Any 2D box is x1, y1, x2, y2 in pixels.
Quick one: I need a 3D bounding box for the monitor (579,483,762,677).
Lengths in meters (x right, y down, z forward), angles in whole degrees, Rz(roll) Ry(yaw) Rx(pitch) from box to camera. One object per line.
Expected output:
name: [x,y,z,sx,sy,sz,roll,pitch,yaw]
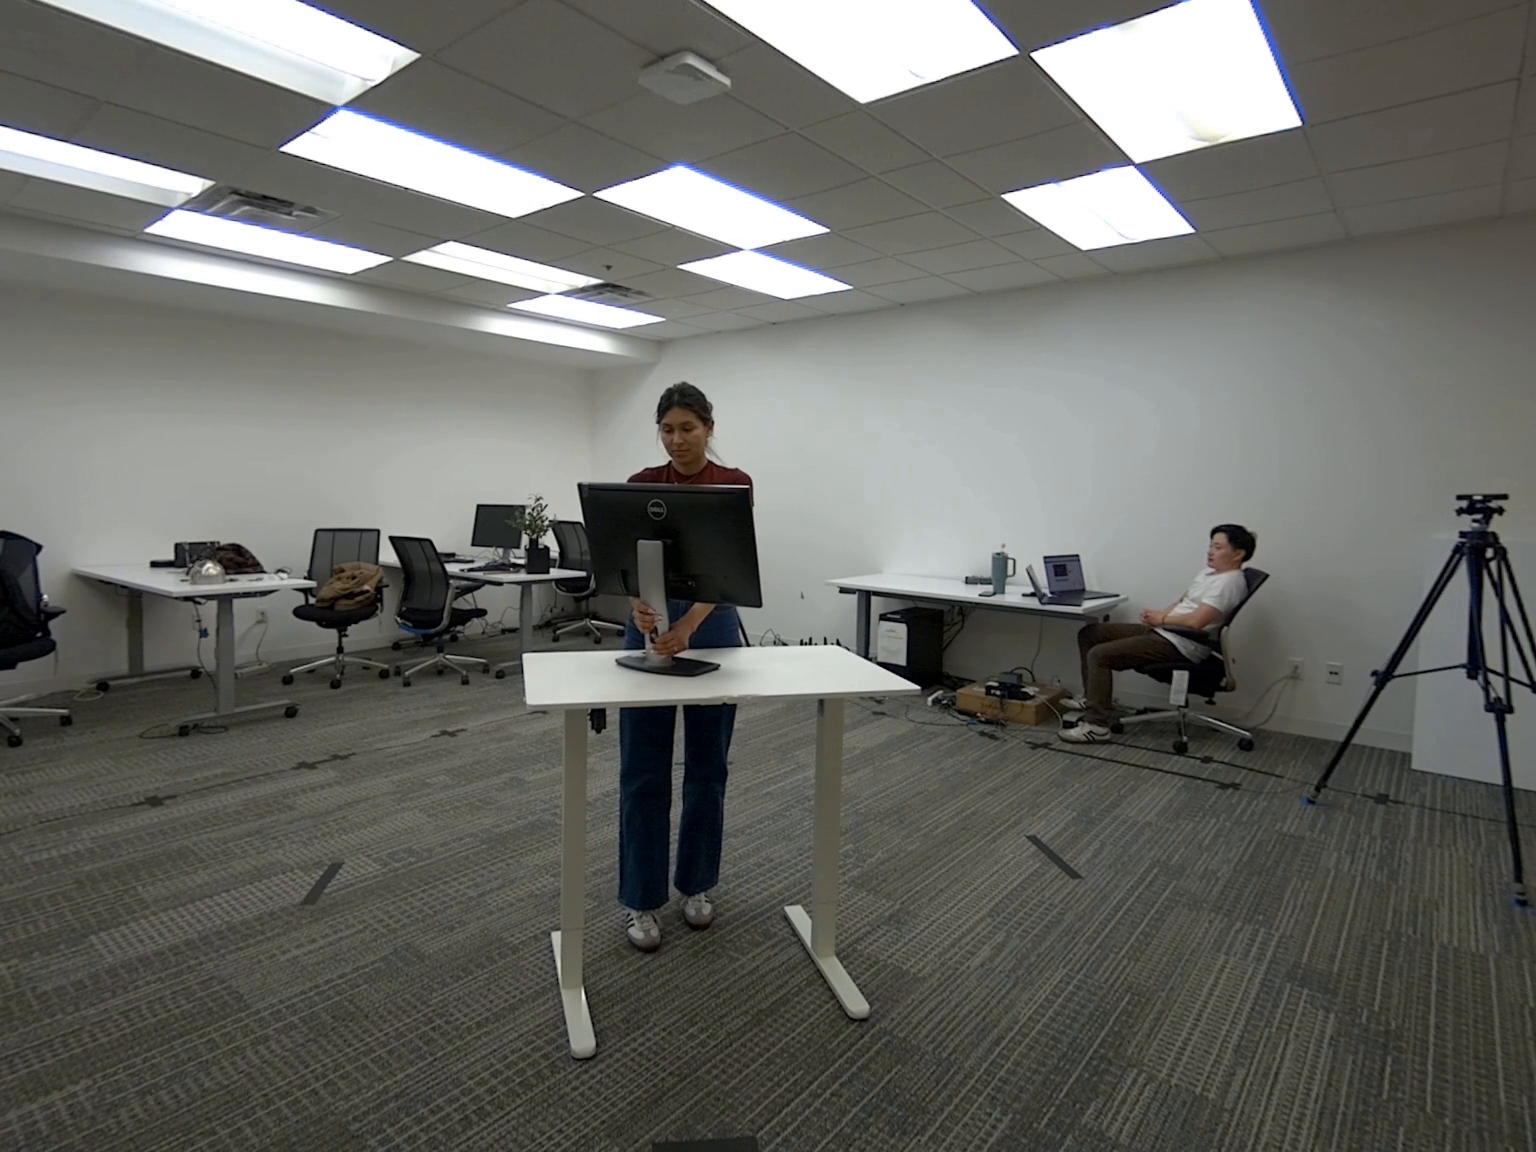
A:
monitor: [-0.311,0.001,2.374,0.552,0.519,0.184,3,7,22]
